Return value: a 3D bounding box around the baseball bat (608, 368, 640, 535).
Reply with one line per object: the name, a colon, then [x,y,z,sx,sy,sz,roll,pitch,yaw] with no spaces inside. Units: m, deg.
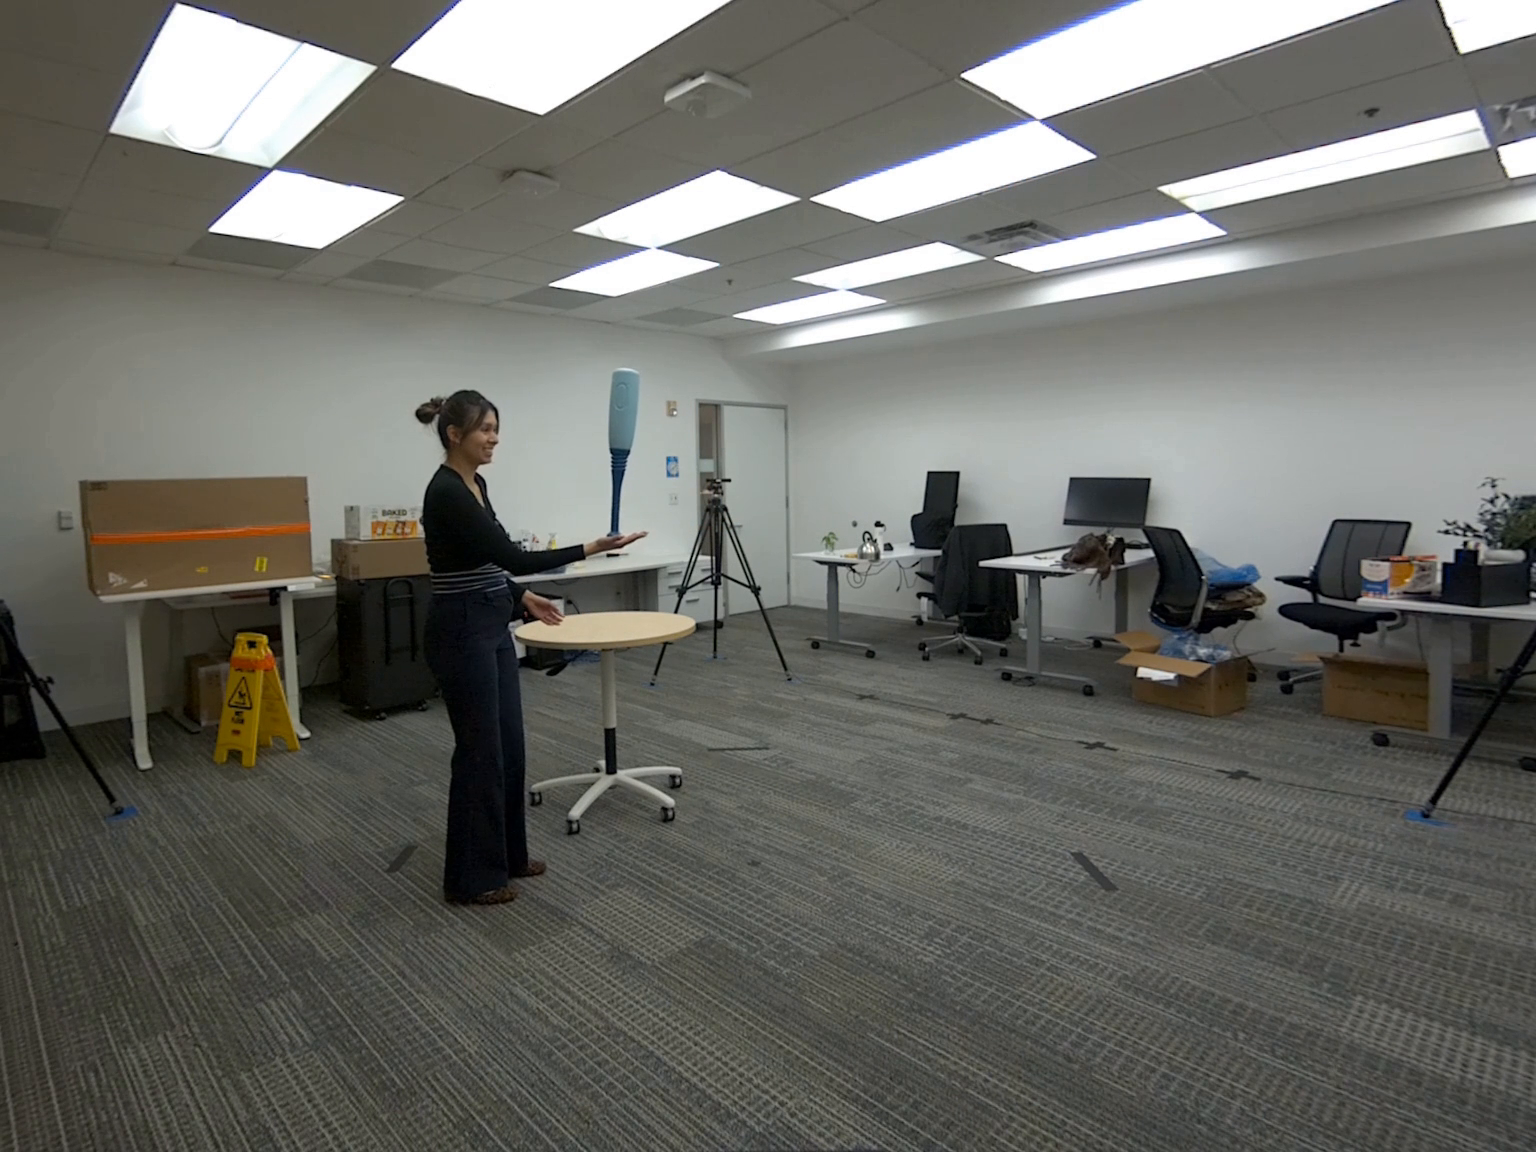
baseball bat: [-0.473,-0.383,2.707,0.089,0.541,0.089,4,4,-2]
